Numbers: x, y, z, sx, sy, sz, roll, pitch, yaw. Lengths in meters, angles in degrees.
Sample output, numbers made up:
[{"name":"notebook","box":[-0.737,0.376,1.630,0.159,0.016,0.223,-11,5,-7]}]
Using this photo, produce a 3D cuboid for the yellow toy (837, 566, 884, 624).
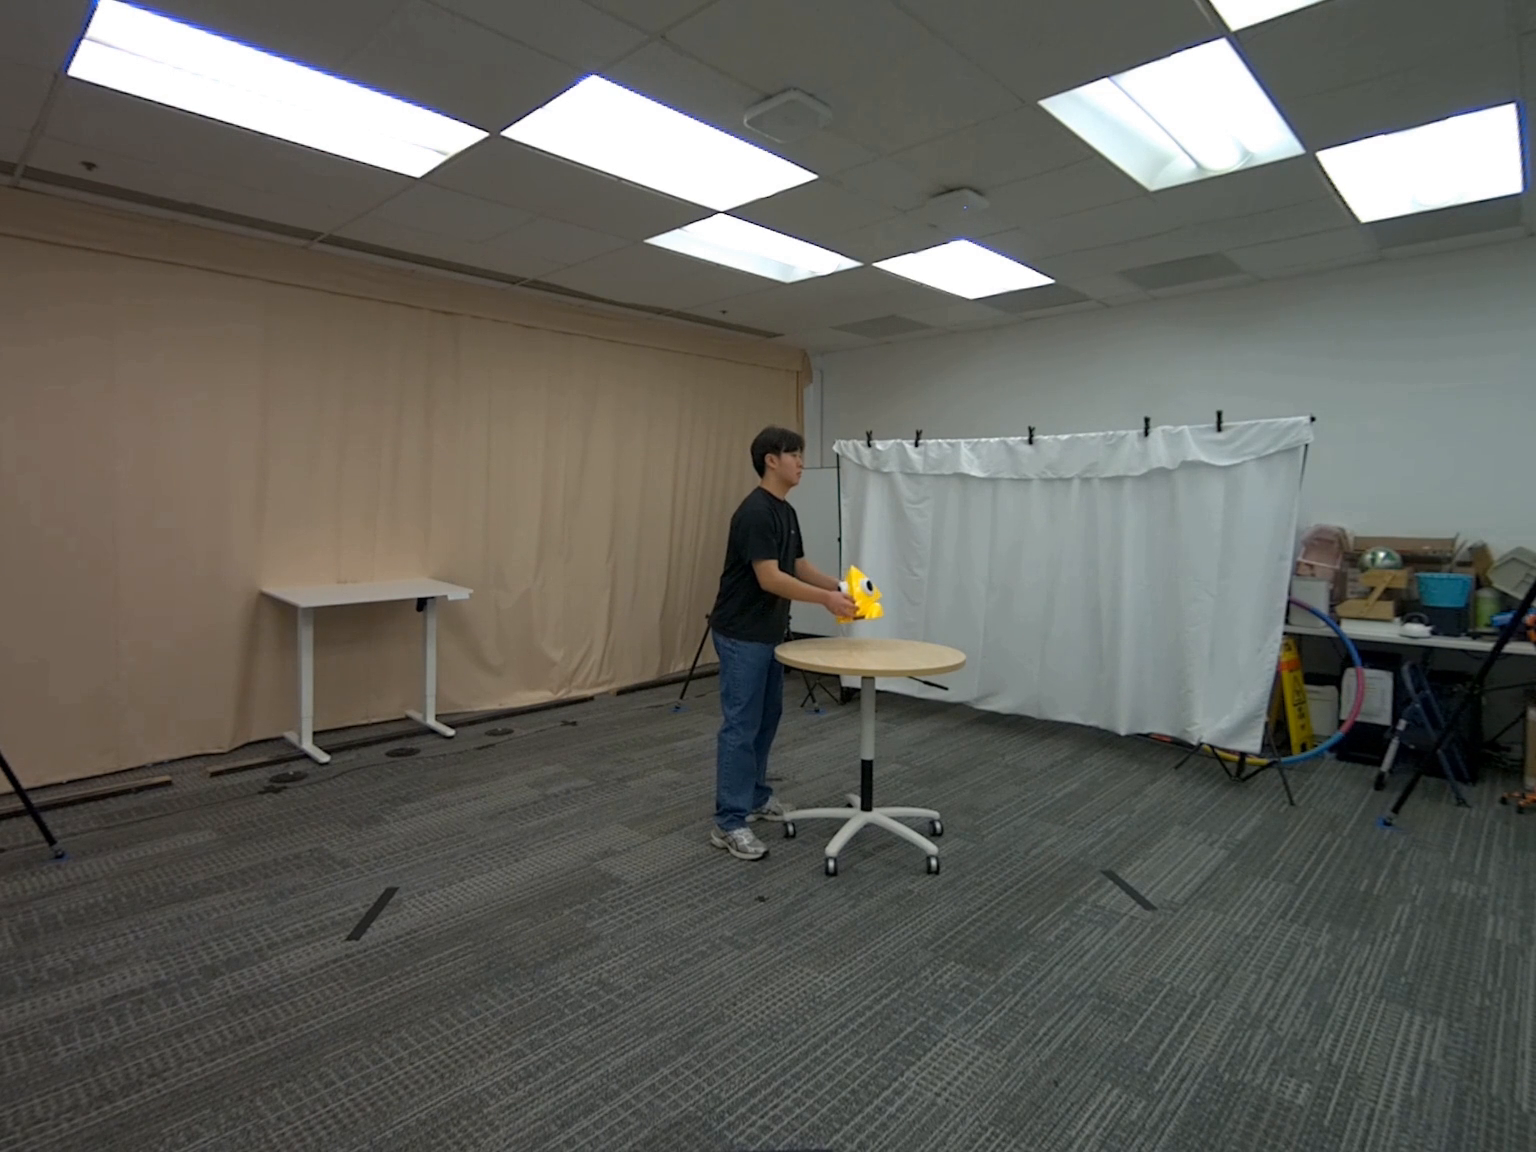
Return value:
[{"name":"yellow toy","box":[0.374,0.076,3.571,0.208,0.231,0.190,-6,0,14]}]
